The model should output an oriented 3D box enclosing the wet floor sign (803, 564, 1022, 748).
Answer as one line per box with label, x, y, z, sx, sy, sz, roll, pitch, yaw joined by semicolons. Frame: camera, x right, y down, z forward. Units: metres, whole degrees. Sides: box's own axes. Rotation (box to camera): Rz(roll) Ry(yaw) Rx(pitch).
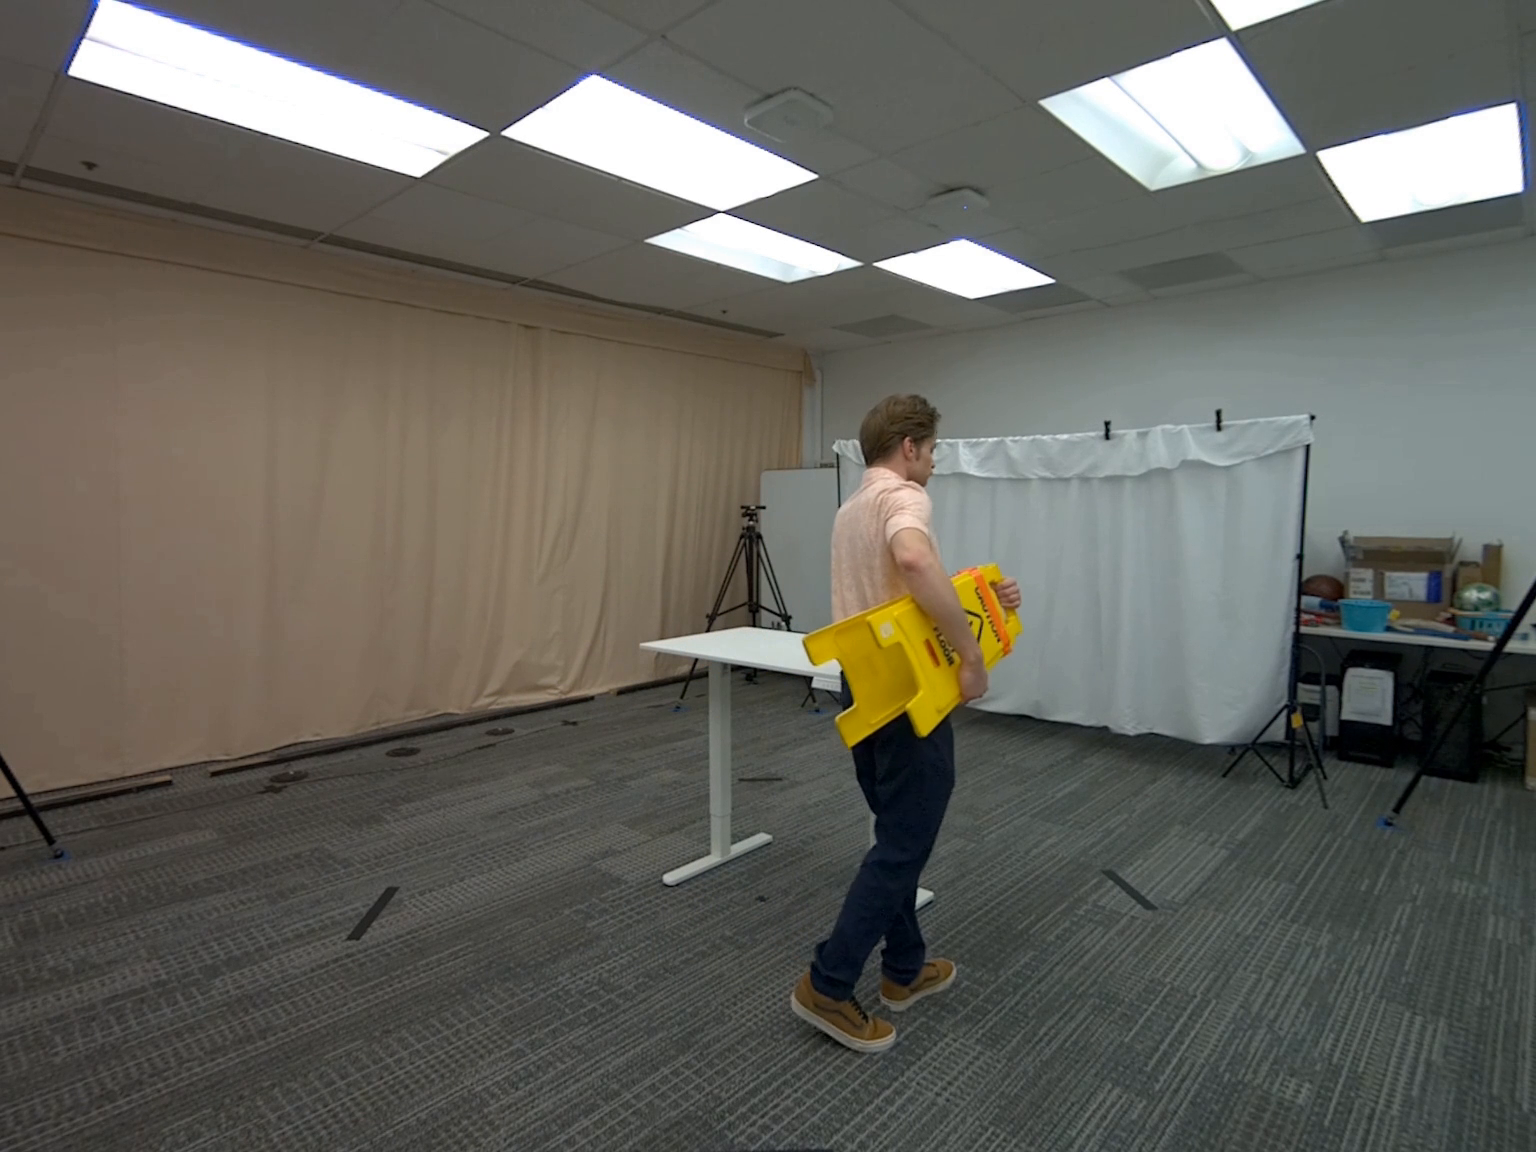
wet floor sign;0.429;0.159;2.080;0.632;0.282;0.296;-23;1;-38
